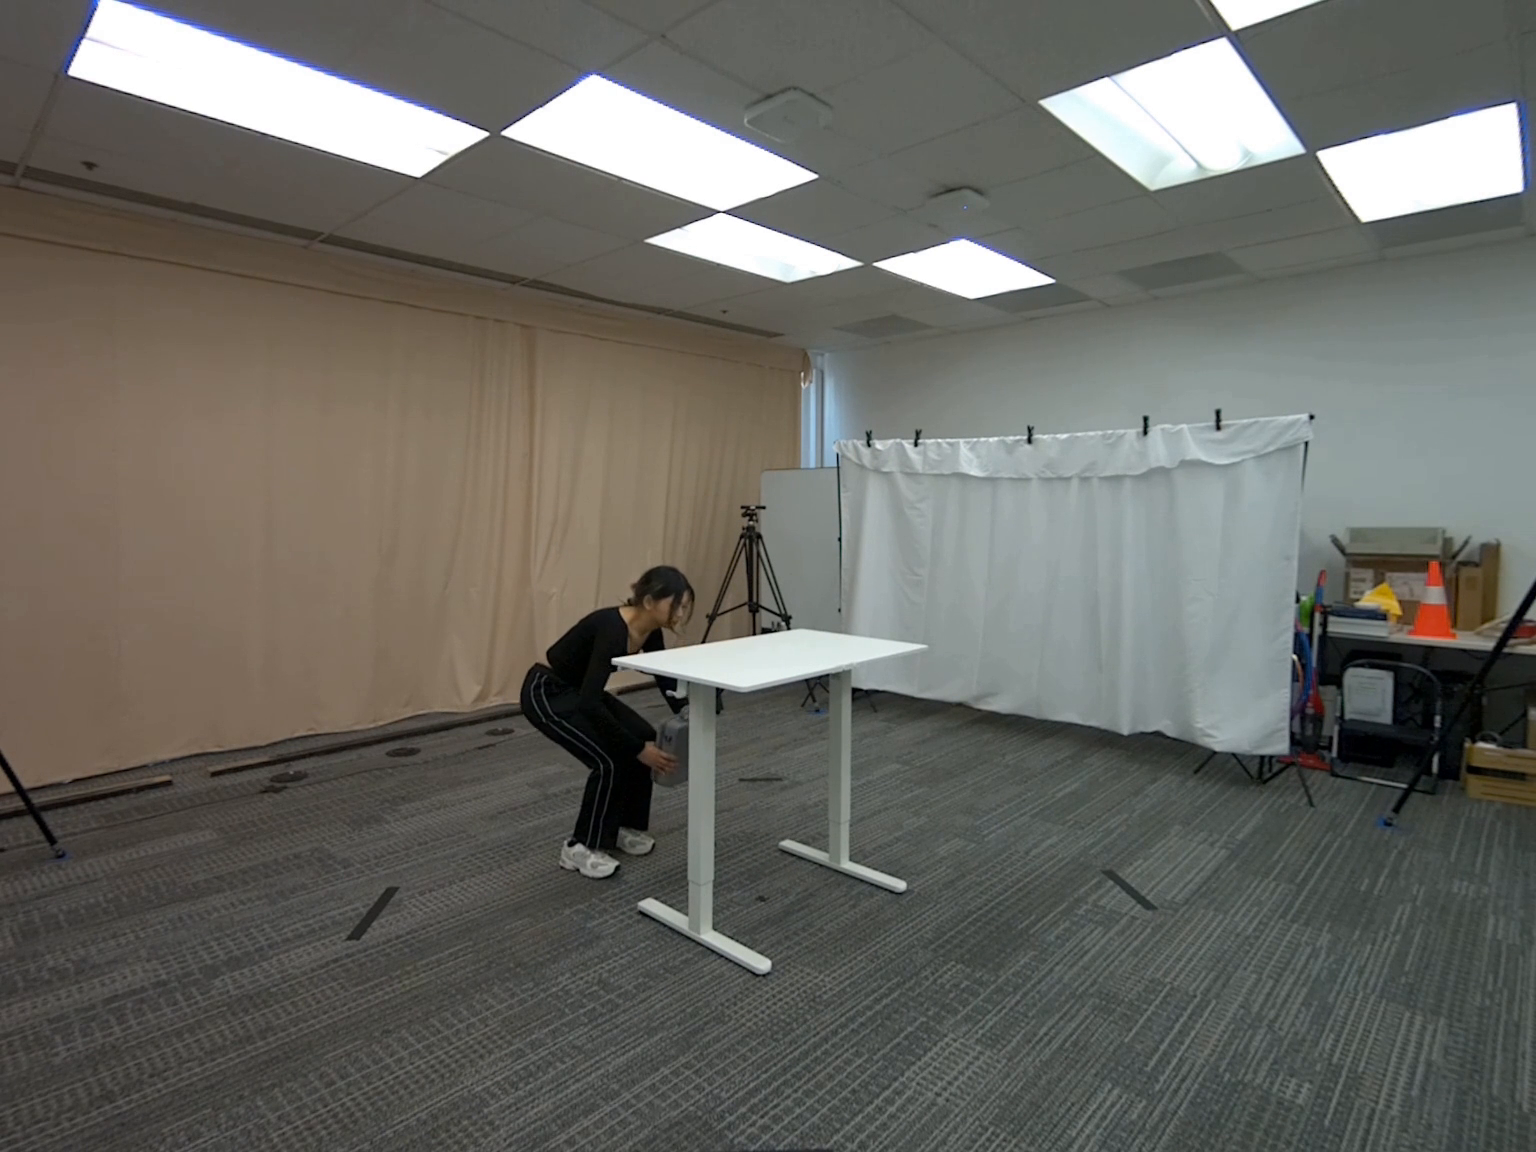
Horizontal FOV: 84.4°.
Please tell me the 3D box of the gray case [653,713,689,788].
[{"bbox_3d":[-0.321,0.646,3.194,0.108,0.259,0.249,15,12,33],"label":"gray case"}]
